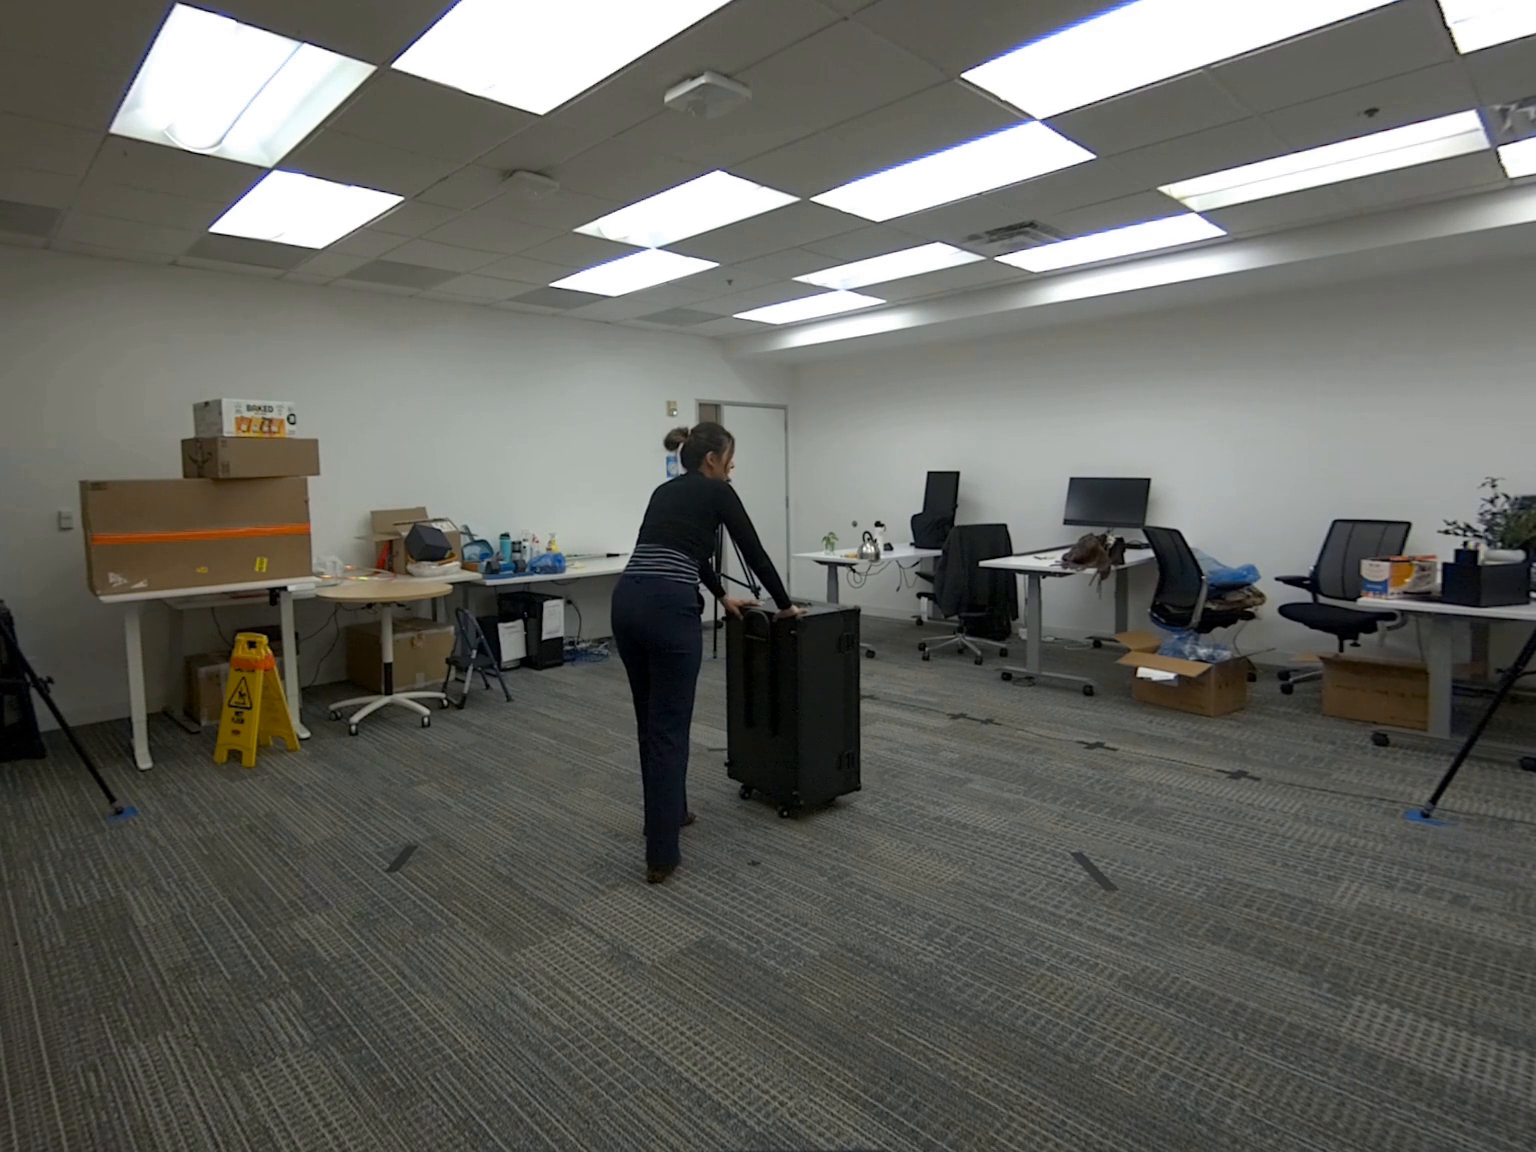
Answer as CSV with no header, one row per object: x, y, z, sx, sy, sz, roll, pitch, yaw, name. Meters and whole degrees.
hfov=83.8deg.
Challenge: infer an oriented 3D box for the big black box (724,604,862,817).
0.097,0.551,3.684,0.386,0.858,0.537,-4,6,-38,big black box
